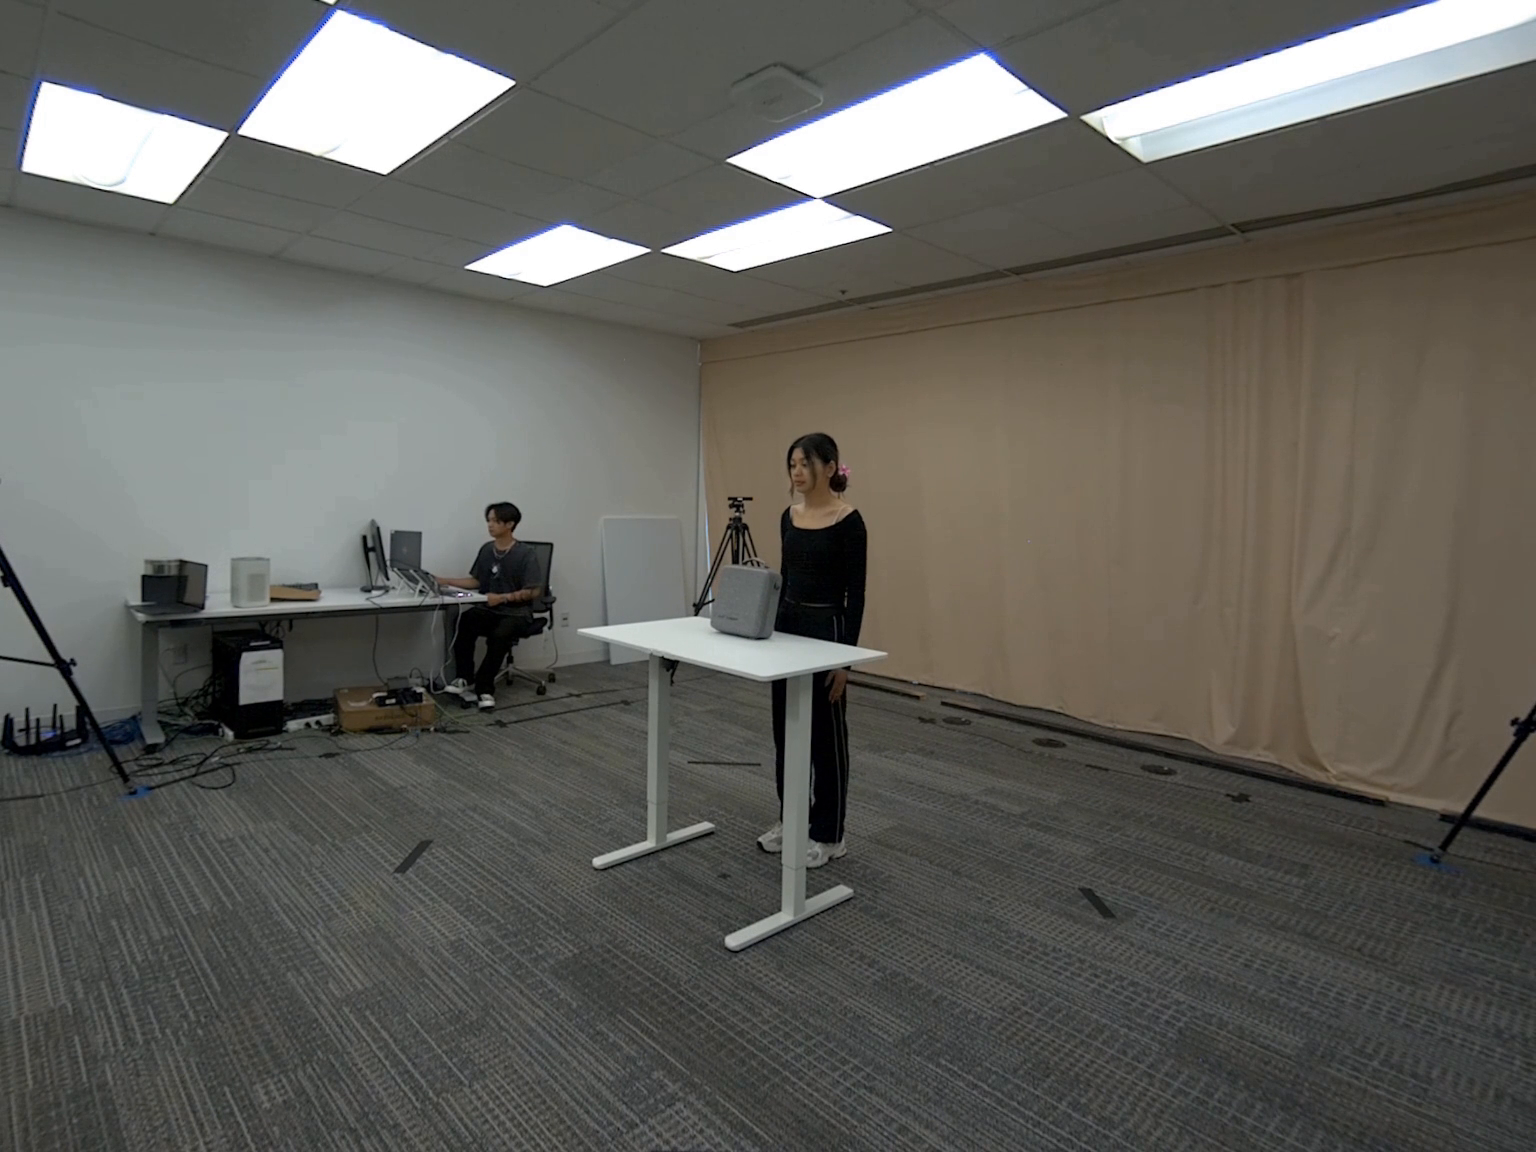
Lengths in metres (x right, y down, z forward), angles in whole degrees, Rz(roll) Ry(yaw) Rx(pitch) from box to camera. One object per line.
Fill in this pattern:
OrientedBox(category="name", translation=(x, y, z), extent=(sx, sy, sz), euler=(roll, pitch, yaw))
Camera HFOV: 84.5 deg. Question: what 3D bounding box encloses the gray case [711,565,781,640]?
OrientedBox(category="gray case", translation=(-0.088, 0.090, 3.136), extent=(0.101, 0.261, 0.263), euler=(14, -4, -42))
